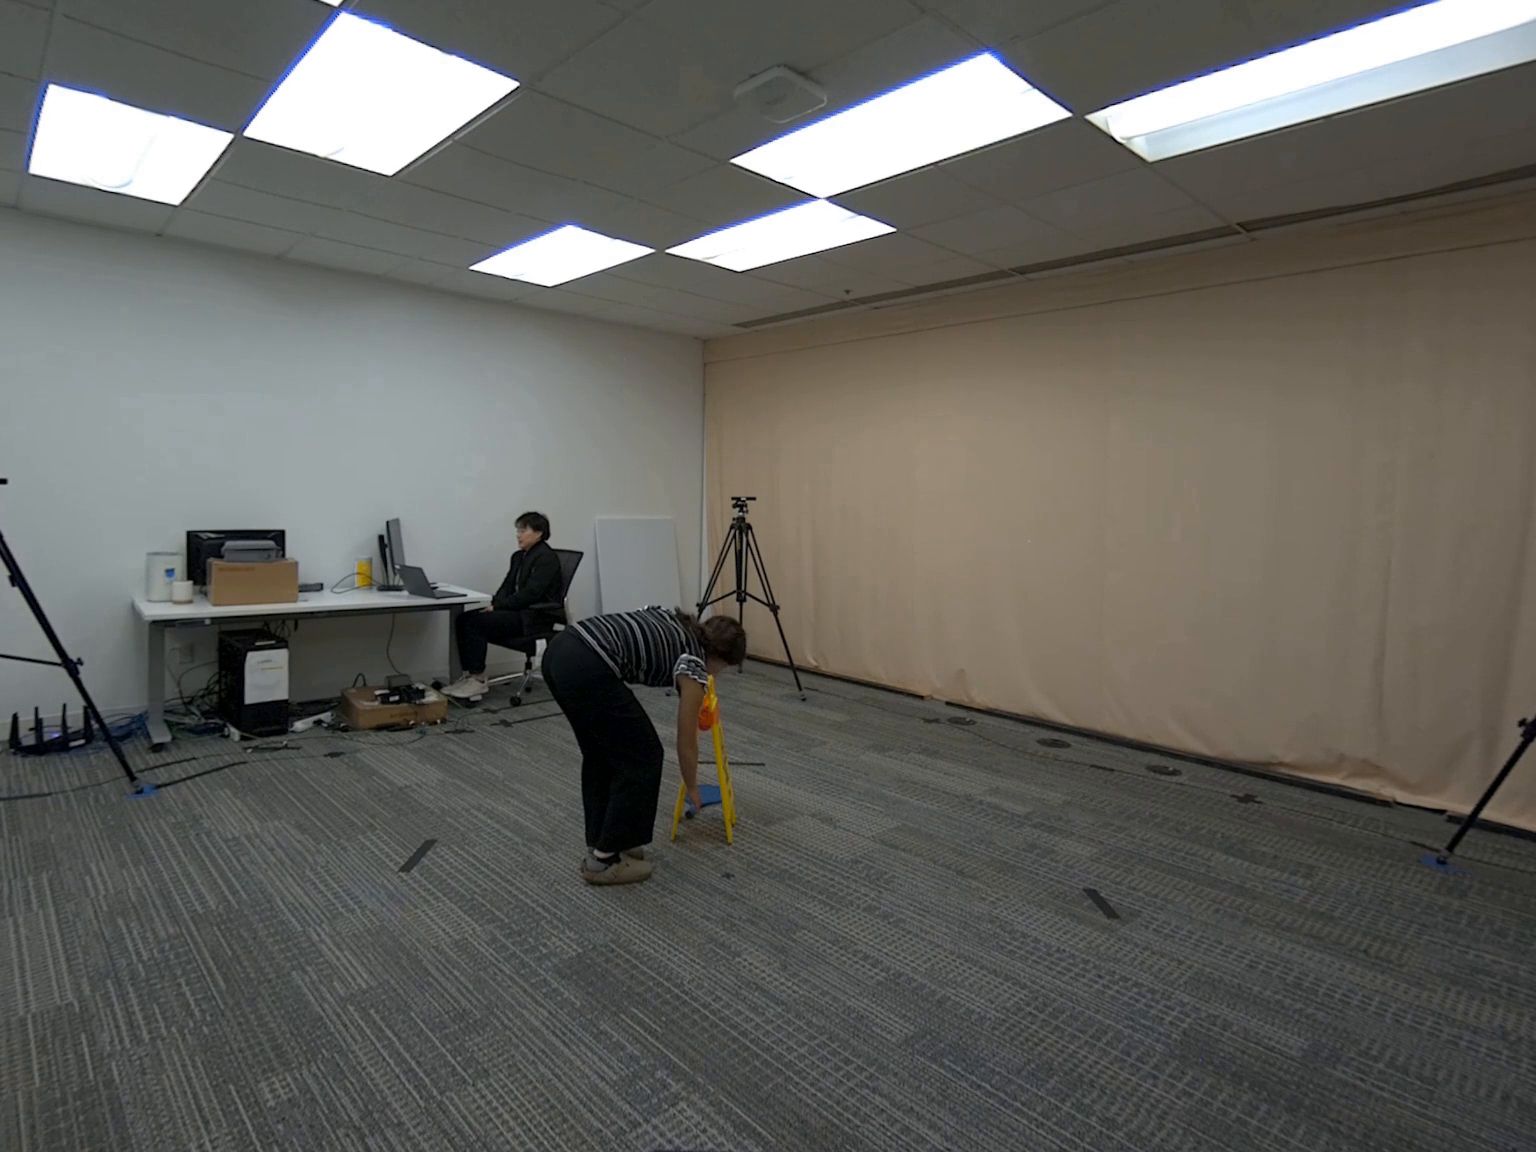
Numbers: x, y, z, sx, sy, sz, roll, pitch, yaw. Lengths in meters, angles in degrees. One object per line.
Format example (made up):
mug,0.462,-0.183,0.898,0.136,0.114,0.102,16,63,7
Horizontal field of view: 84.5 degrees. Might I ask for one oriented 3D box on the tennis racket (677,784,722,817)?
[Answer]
tennis racket,-0.319,1.026,3.866,0.216,0.032,0.429,2,3,10
